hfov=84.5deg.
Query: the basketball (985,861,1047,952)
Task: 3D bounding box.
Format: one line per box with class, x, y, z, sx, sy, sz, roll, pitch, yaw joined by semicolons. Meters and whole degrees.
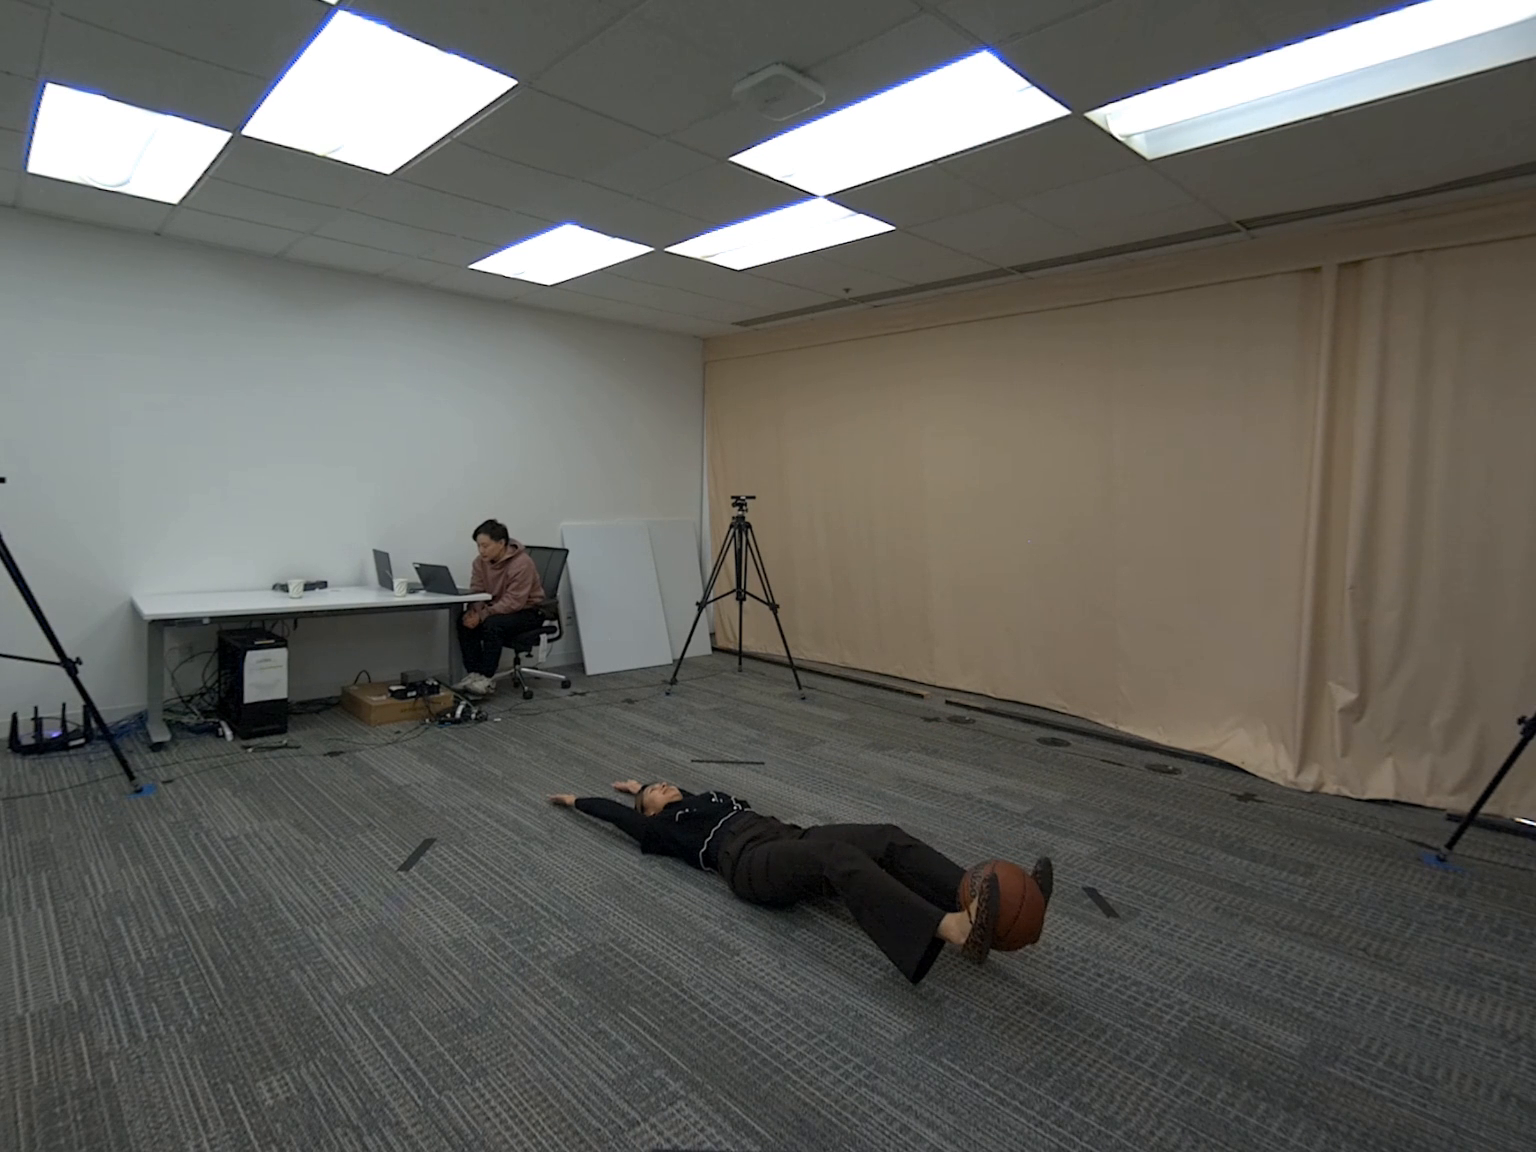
basketball;0.642;0.922;2.356;0.236;0.235;0.237;1;4;-1
